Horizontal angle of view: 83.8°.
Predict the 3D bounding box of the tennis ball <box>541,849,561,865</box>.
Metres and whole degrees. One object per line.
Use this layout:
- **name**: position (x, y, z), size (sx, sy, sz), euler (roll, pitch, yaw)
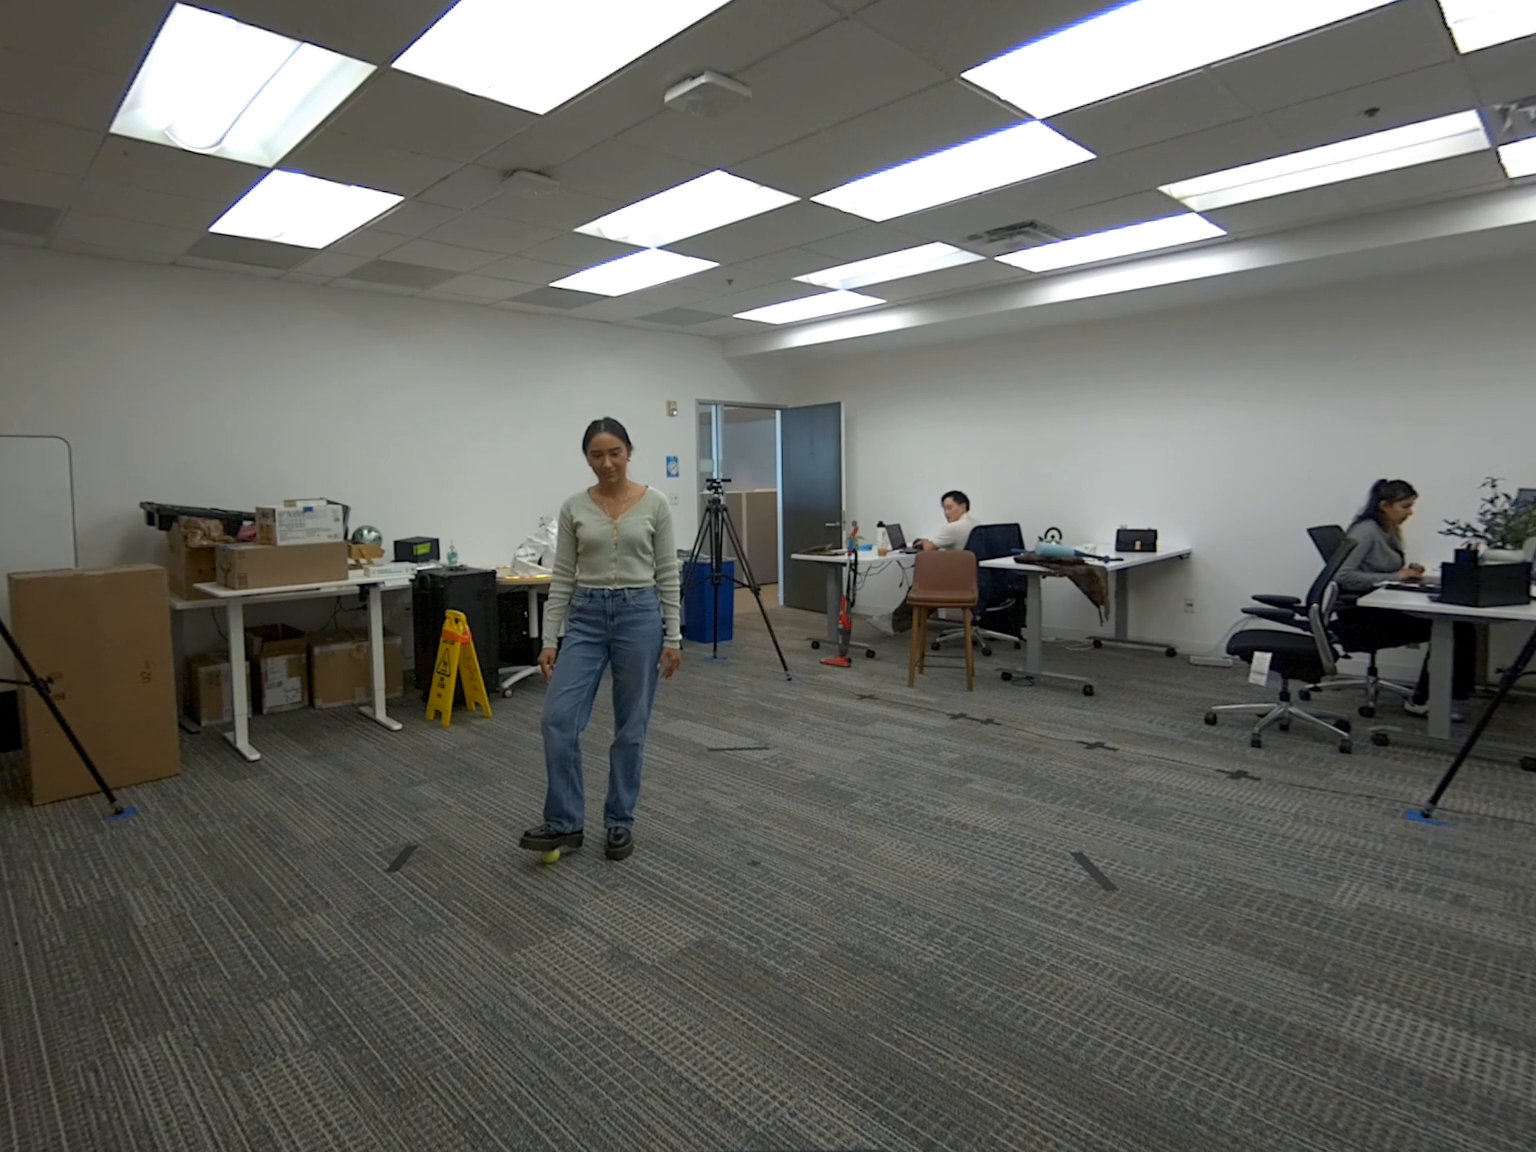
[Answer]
- **tennis ball**: position (-0.810, 1.041, 3.149), size (0.066, 0.066, 0.067), euler (-1, 5, -2)
